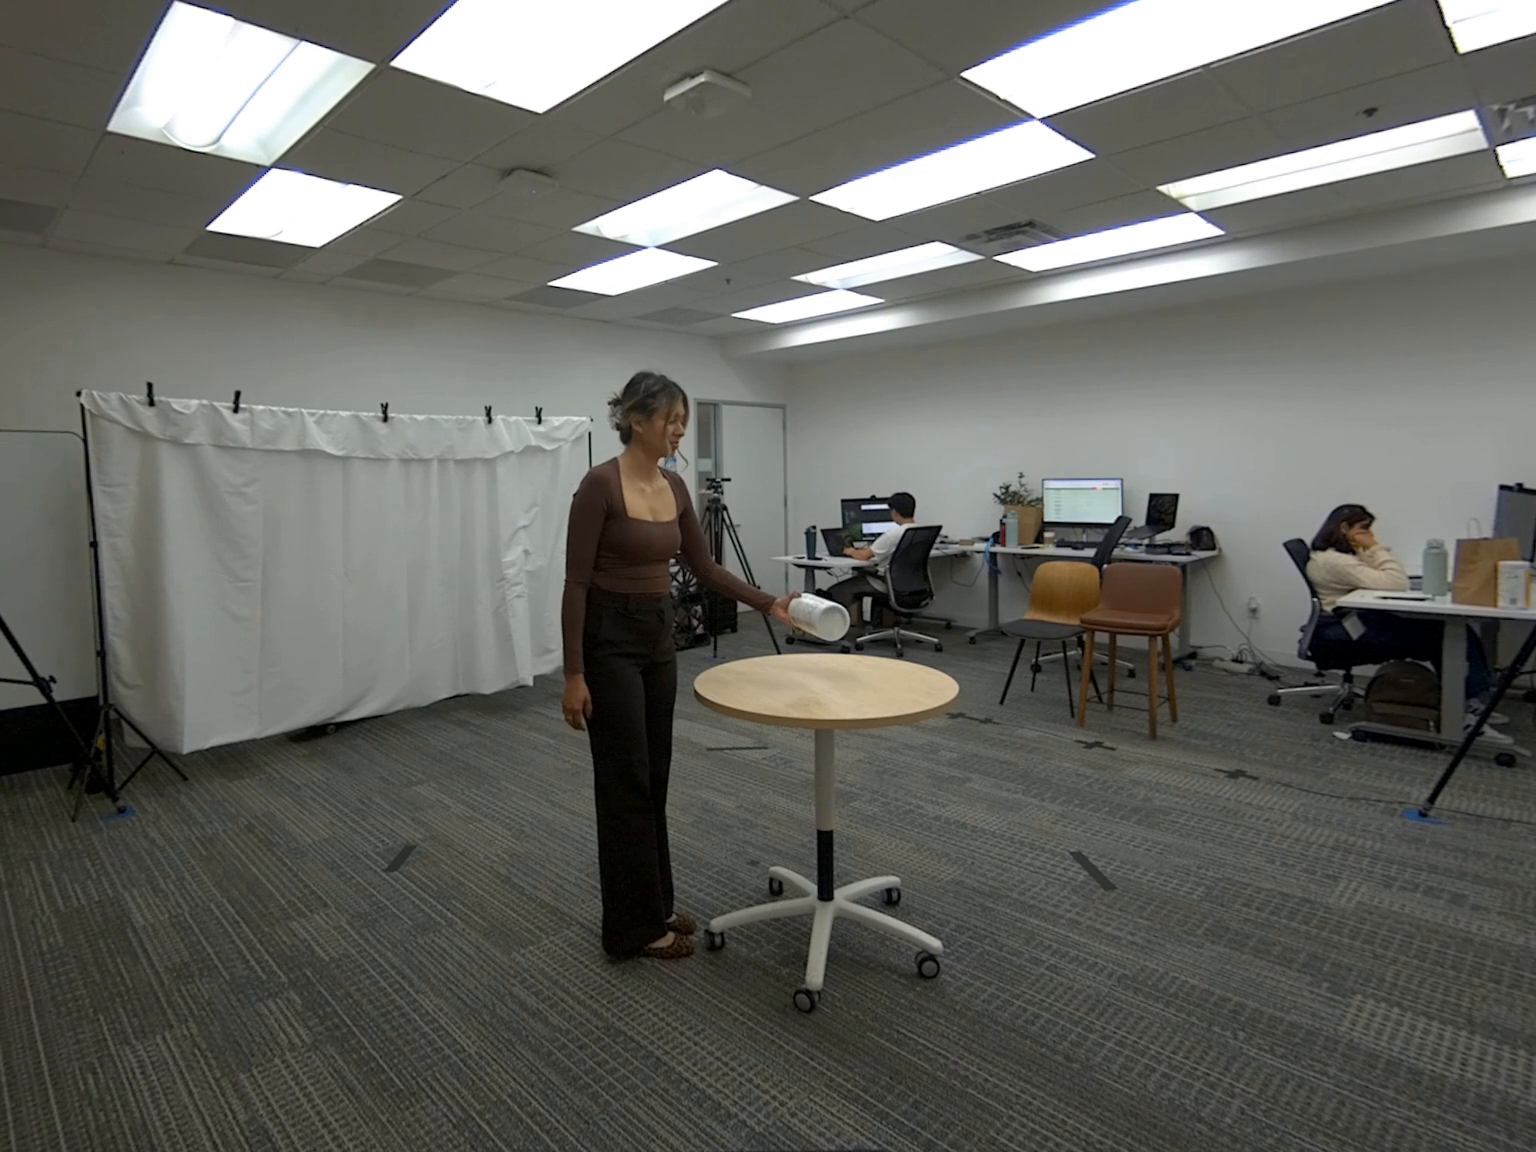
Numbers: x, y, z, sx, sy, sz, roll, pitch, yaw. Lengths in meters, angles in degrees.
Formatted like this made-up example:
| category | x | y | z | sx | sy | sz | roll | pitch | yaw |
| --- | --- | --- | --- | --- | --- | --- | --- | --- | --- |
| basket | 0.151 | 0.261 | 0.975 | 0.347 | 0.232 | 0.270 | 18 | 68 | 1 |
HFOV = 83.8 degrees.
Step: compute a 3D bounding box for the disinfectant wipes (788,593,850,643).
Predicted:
| category | x | y | z | sx | sy | sz | roll | pitch | yaw |
| --- | --- | --- | --- | --- | --- | --- | --- | --- | --- |
| disinfectant wipes | 0.144 | 0.113 | 2.518 | 0.116 | 0.117 | 0.222 | -3 | 5 | -21 |
